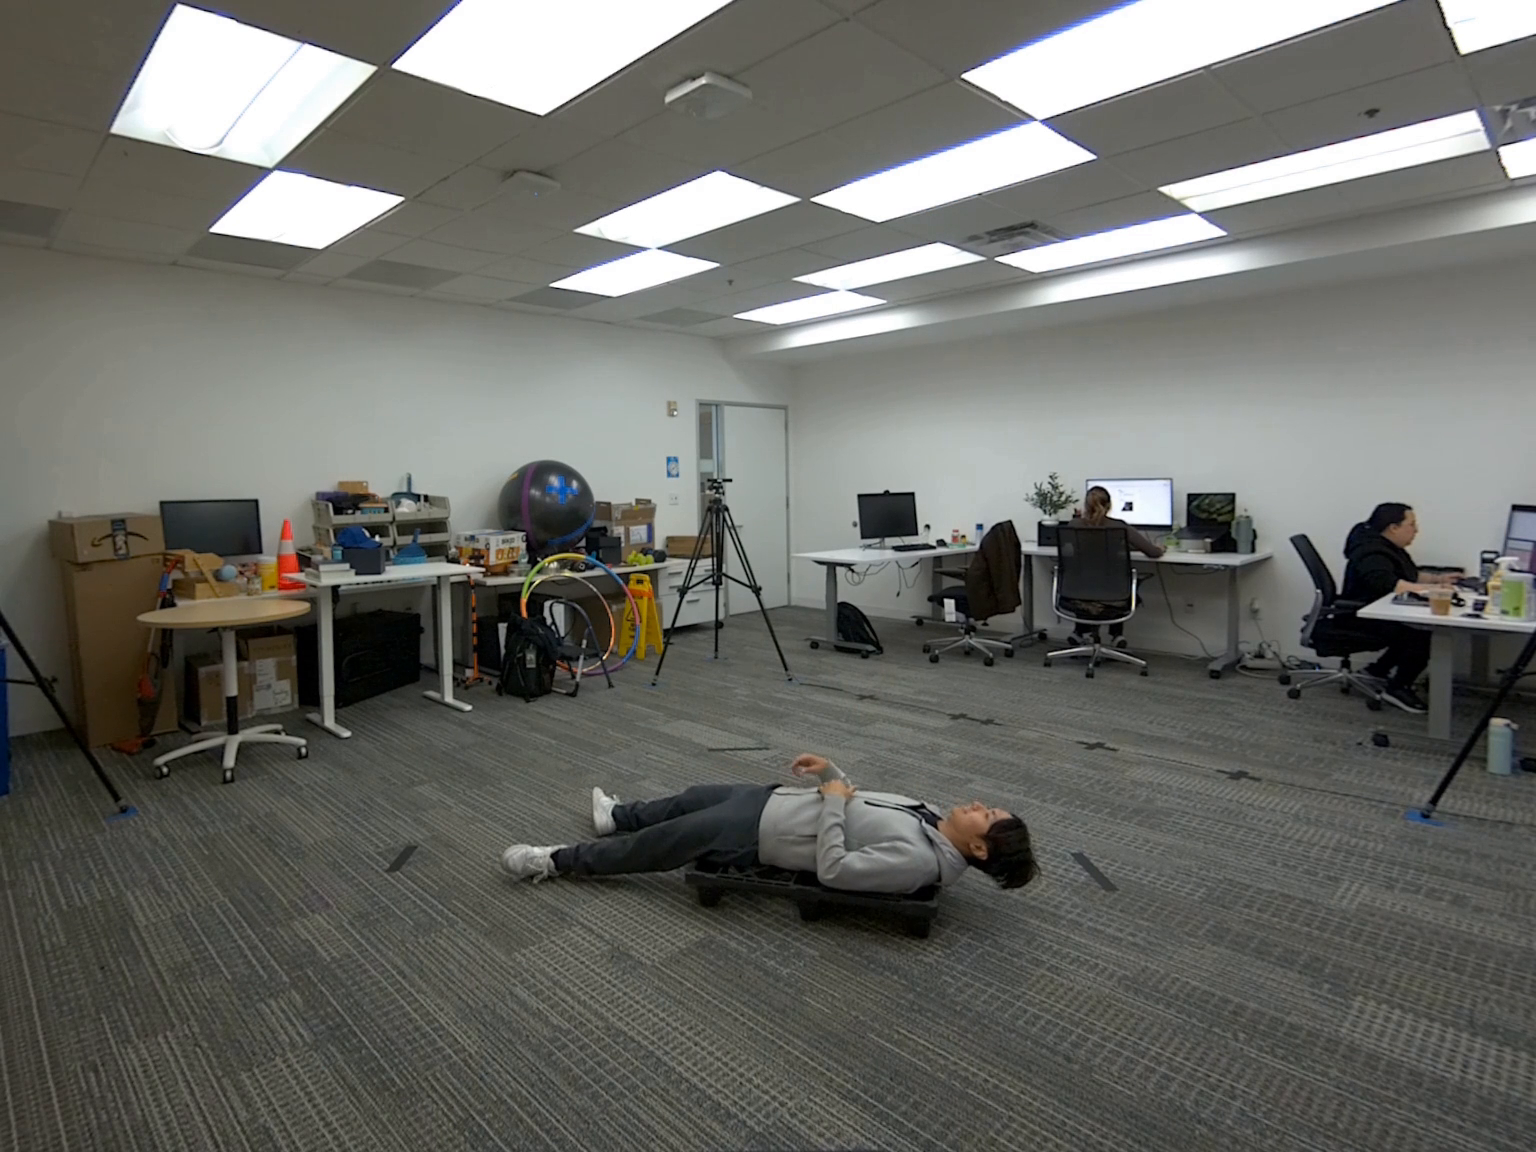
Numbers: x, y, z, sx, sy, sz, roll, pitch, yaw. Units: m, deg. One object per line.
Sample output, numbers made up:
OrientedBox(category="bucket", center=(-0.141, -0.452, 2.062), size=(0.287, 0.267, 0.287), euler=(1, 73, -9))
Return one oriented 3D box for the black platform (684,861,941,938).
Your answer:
OrientedBox(category="black platform", center=(0.194, 0.984, 2.911), size=(0.820, 0.143, 0.596), euler=(3, 6, 18))
